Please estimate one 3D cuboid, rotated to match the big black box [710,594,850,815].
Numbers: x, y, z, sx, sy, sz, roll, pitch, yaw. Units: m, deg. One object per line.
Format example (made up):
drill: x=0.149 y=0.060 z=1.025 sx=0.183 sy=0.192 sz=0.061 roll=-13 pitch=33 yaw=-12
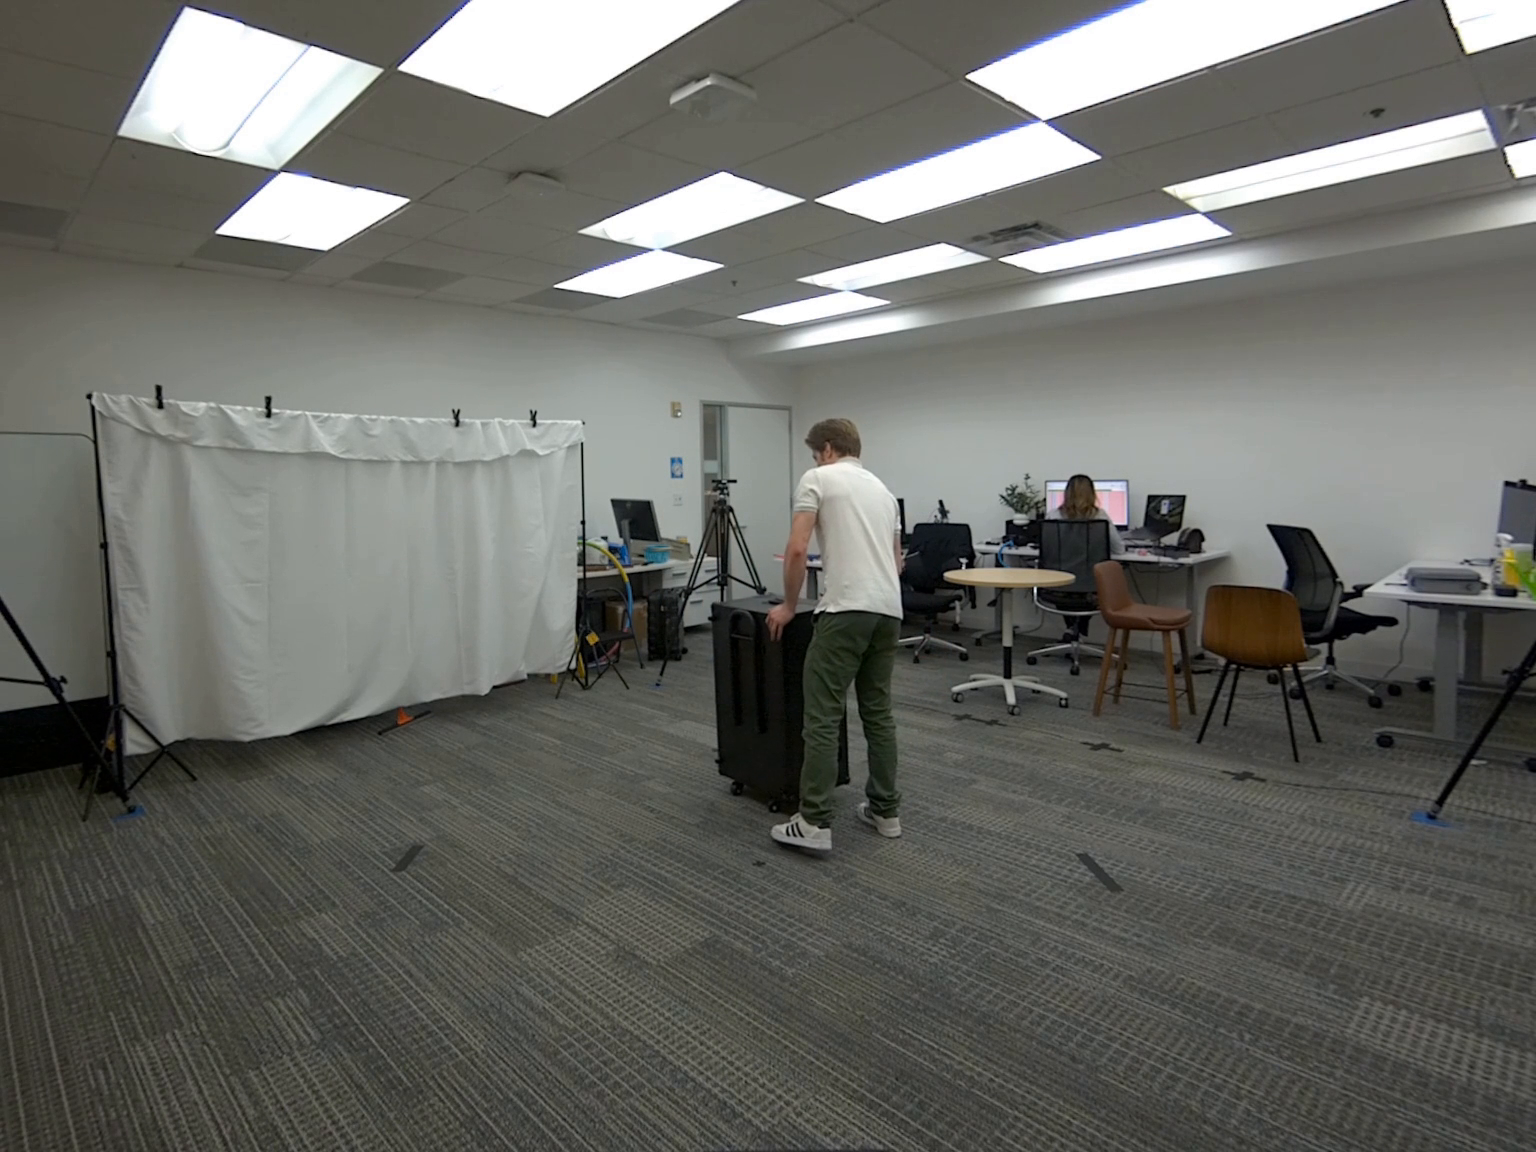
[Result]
big black box: x=0.046 y=0.553 z=3.757 sx=0.375 sy=0.864 sz=0.539 roll=-6 pitch=6 yaw=-38
